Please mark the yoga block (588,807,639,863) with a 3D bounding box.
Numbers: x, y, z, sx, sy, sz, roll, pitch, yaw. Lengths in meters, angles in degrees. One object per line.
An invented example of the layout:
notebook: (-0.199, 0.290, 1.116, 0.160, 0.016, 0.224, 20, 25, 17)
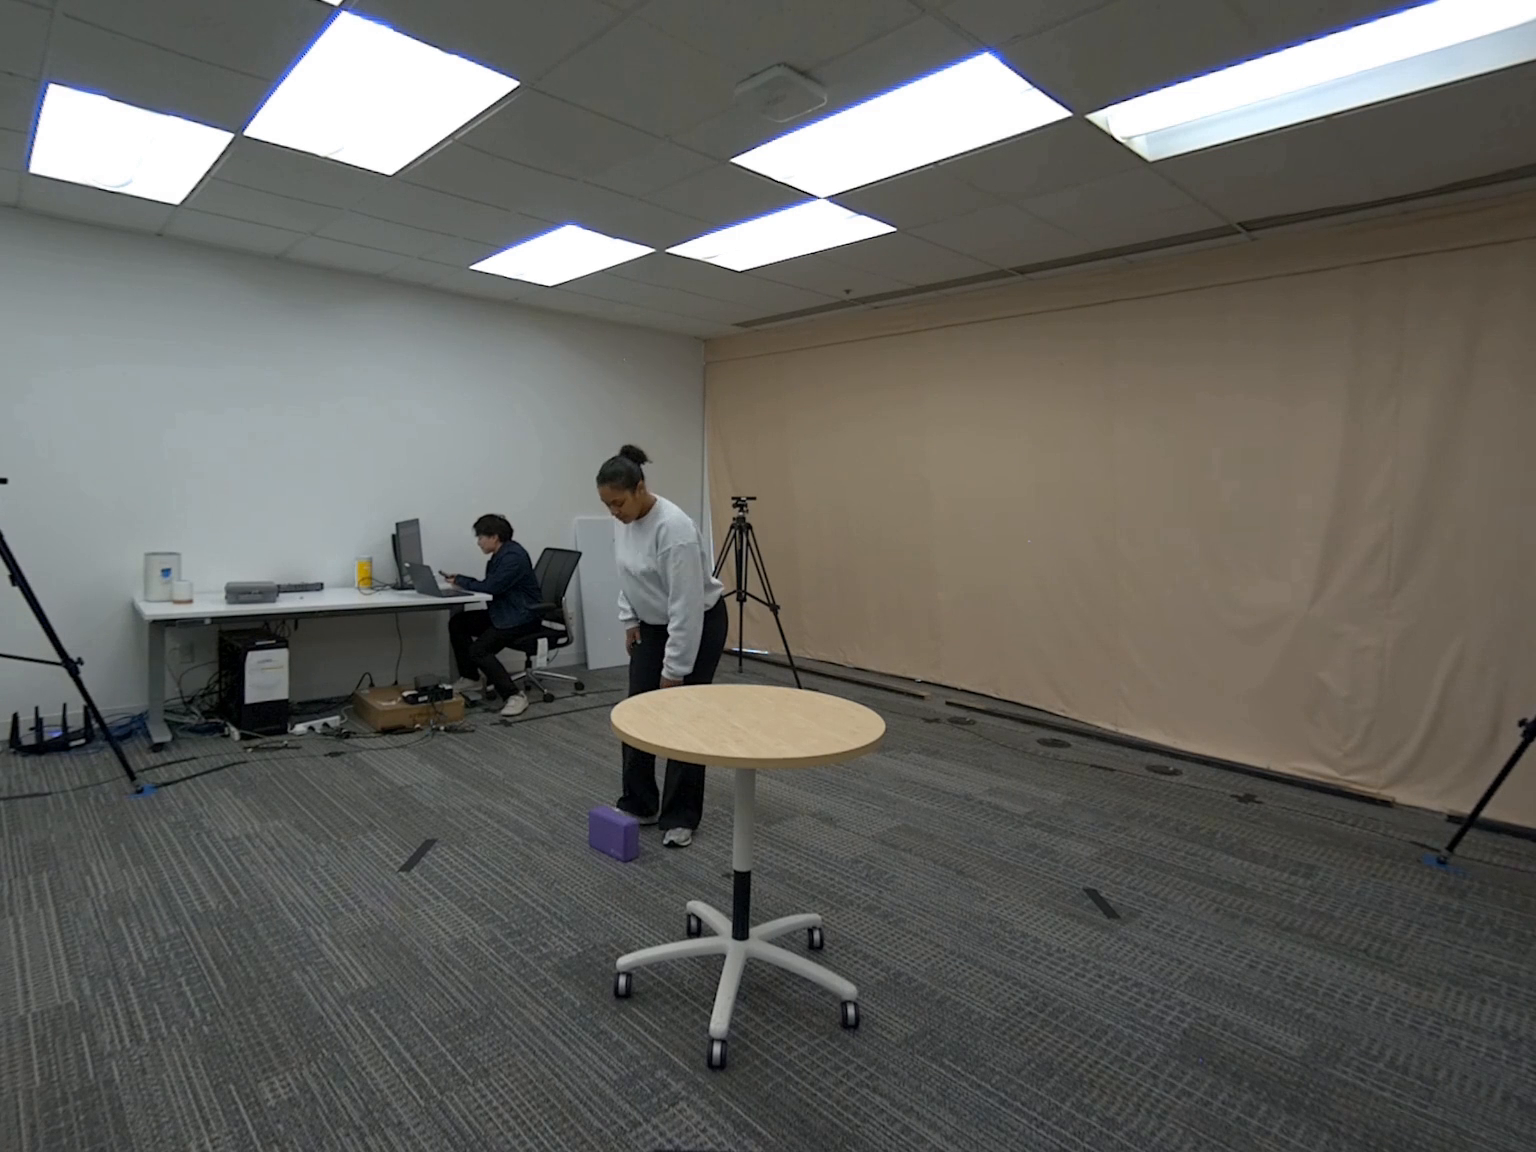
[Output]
yoga block: (-0.610, 0.998, 3.286, 0.235, 0.148, 0.075, 4, 6, 41)
